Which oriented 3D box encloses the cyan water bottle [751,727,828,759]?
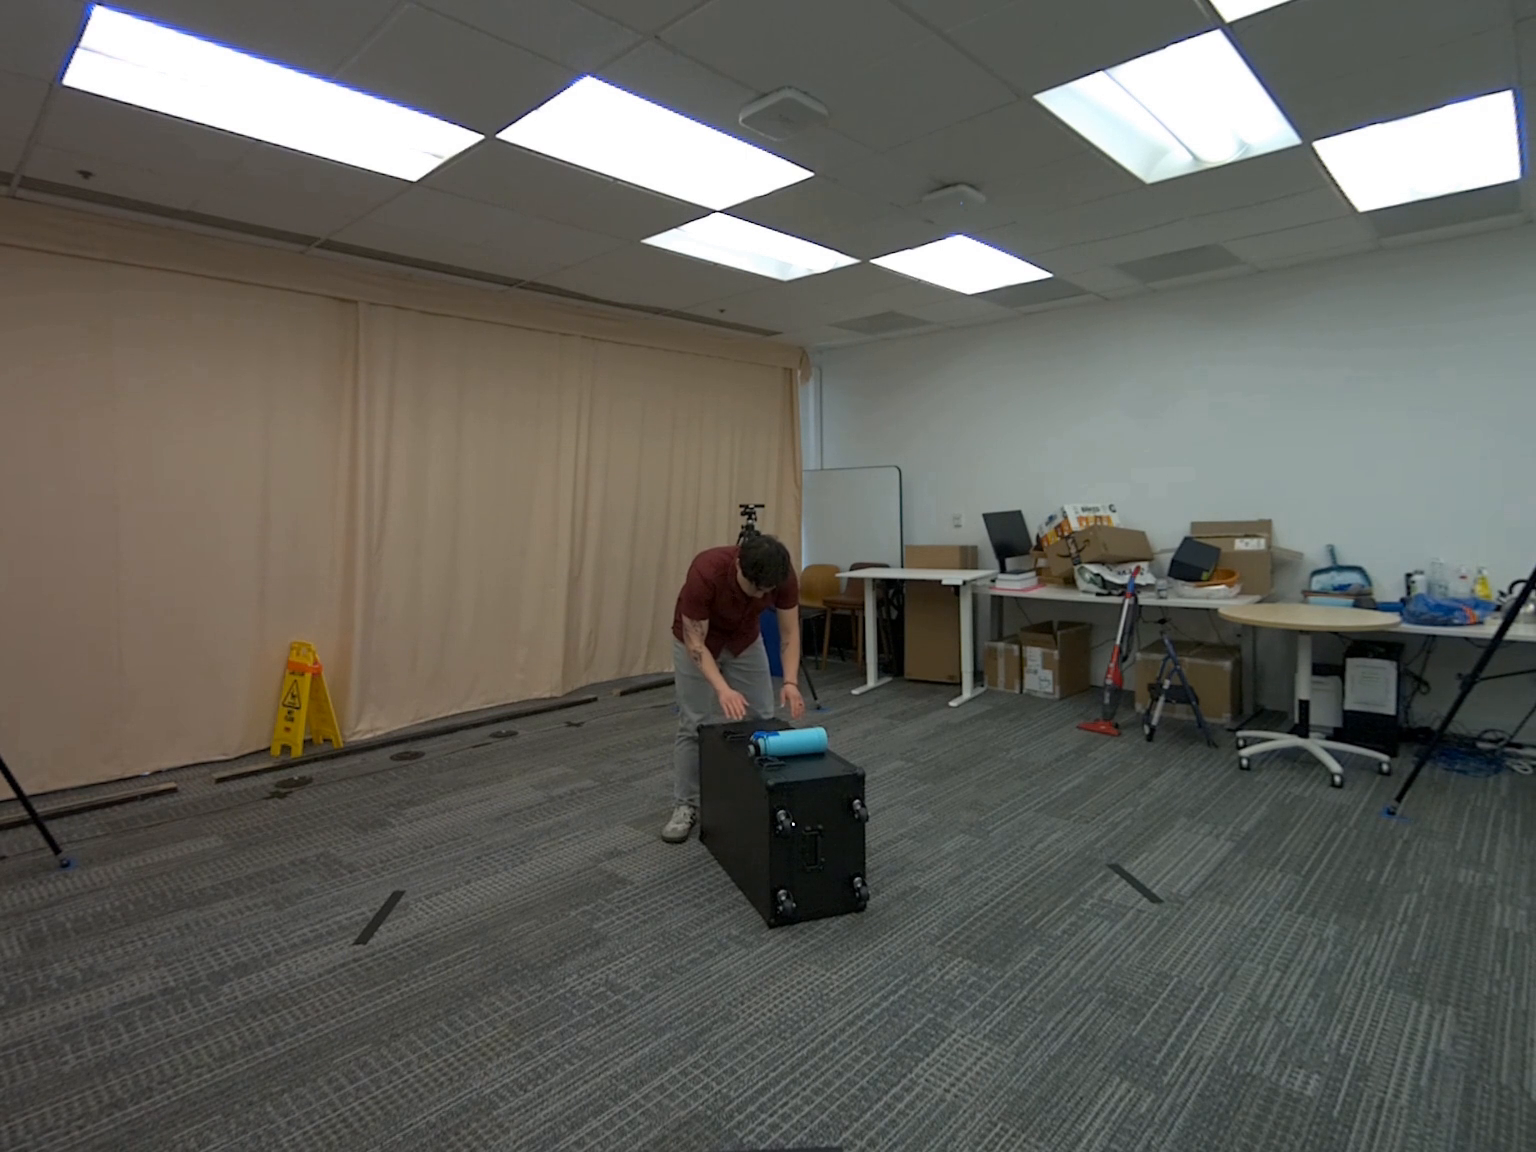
[{"bbox_3d":[0.077,0.604,3.045,0.280,0.092,0.094,-2,4,-12],"label":"cyan water bottle"}]
